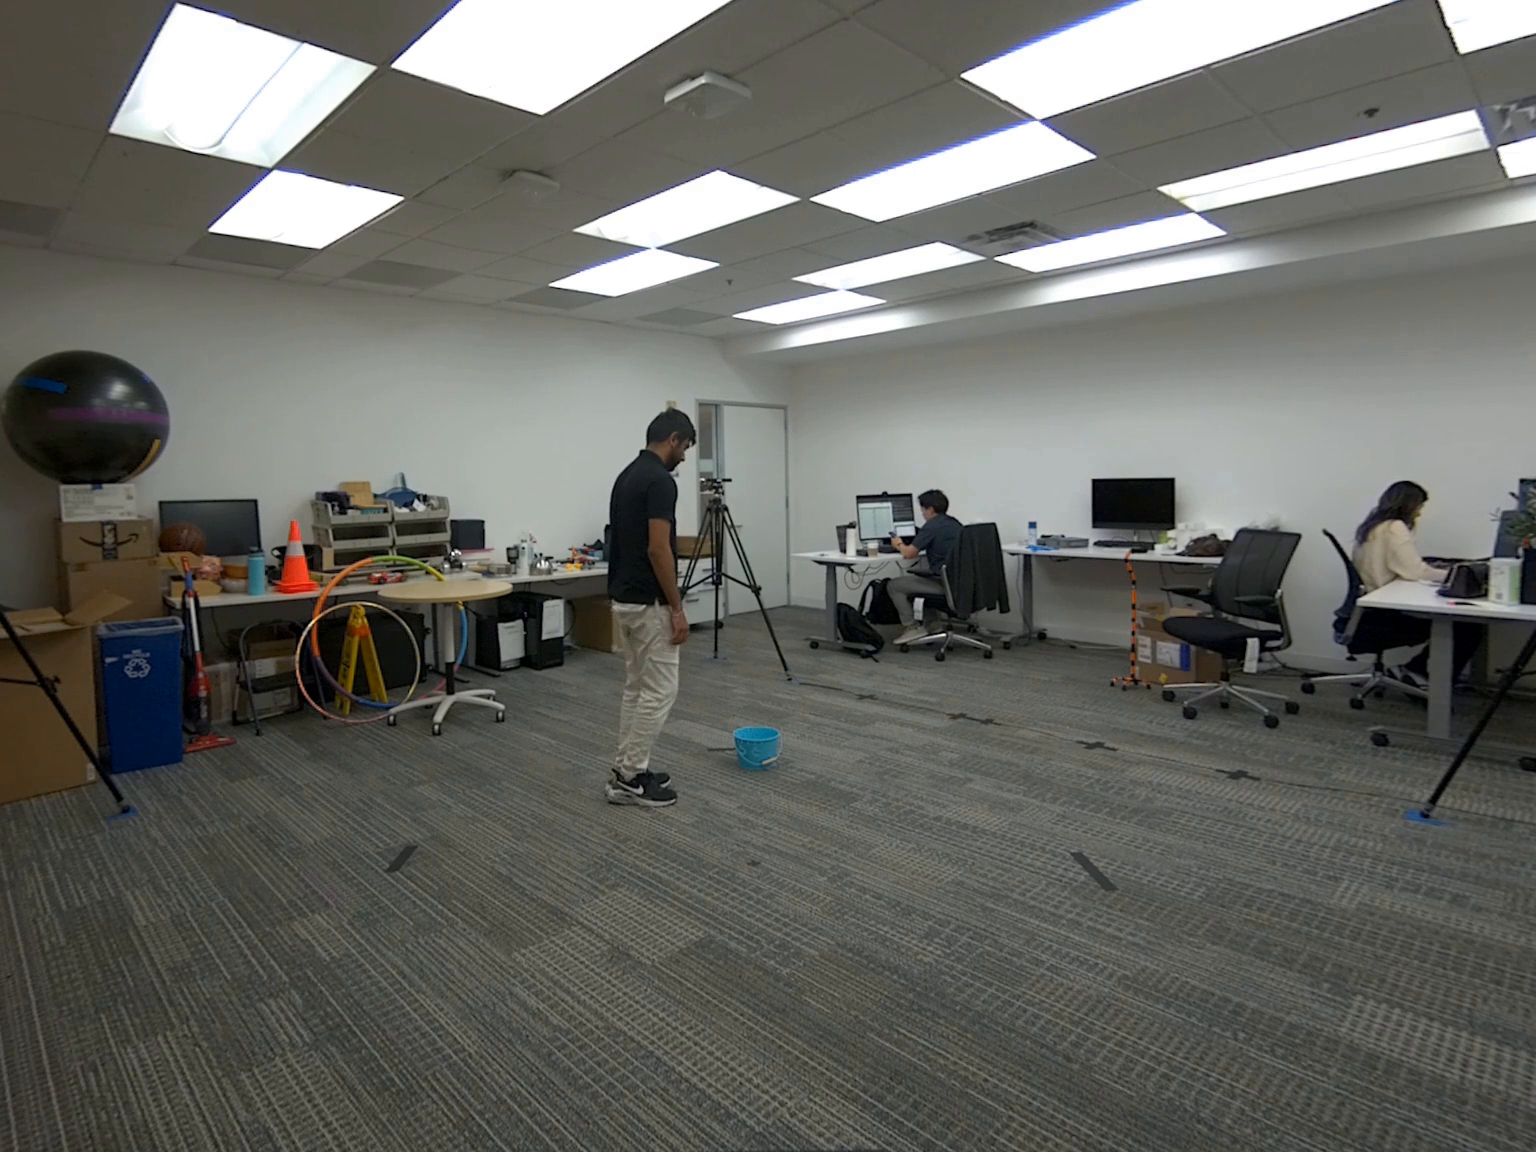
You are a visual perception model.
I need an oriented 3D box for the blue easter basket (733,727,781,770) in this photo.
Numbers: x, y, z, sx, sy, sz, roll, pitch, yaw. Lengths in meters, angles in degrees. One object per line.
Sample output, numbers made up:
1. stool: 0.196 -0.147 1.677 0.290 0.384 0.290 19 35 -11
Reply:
1. blue easter basket: -0.059 0.848 4.199 0.243 0.155 0.245 -2 5 -1
